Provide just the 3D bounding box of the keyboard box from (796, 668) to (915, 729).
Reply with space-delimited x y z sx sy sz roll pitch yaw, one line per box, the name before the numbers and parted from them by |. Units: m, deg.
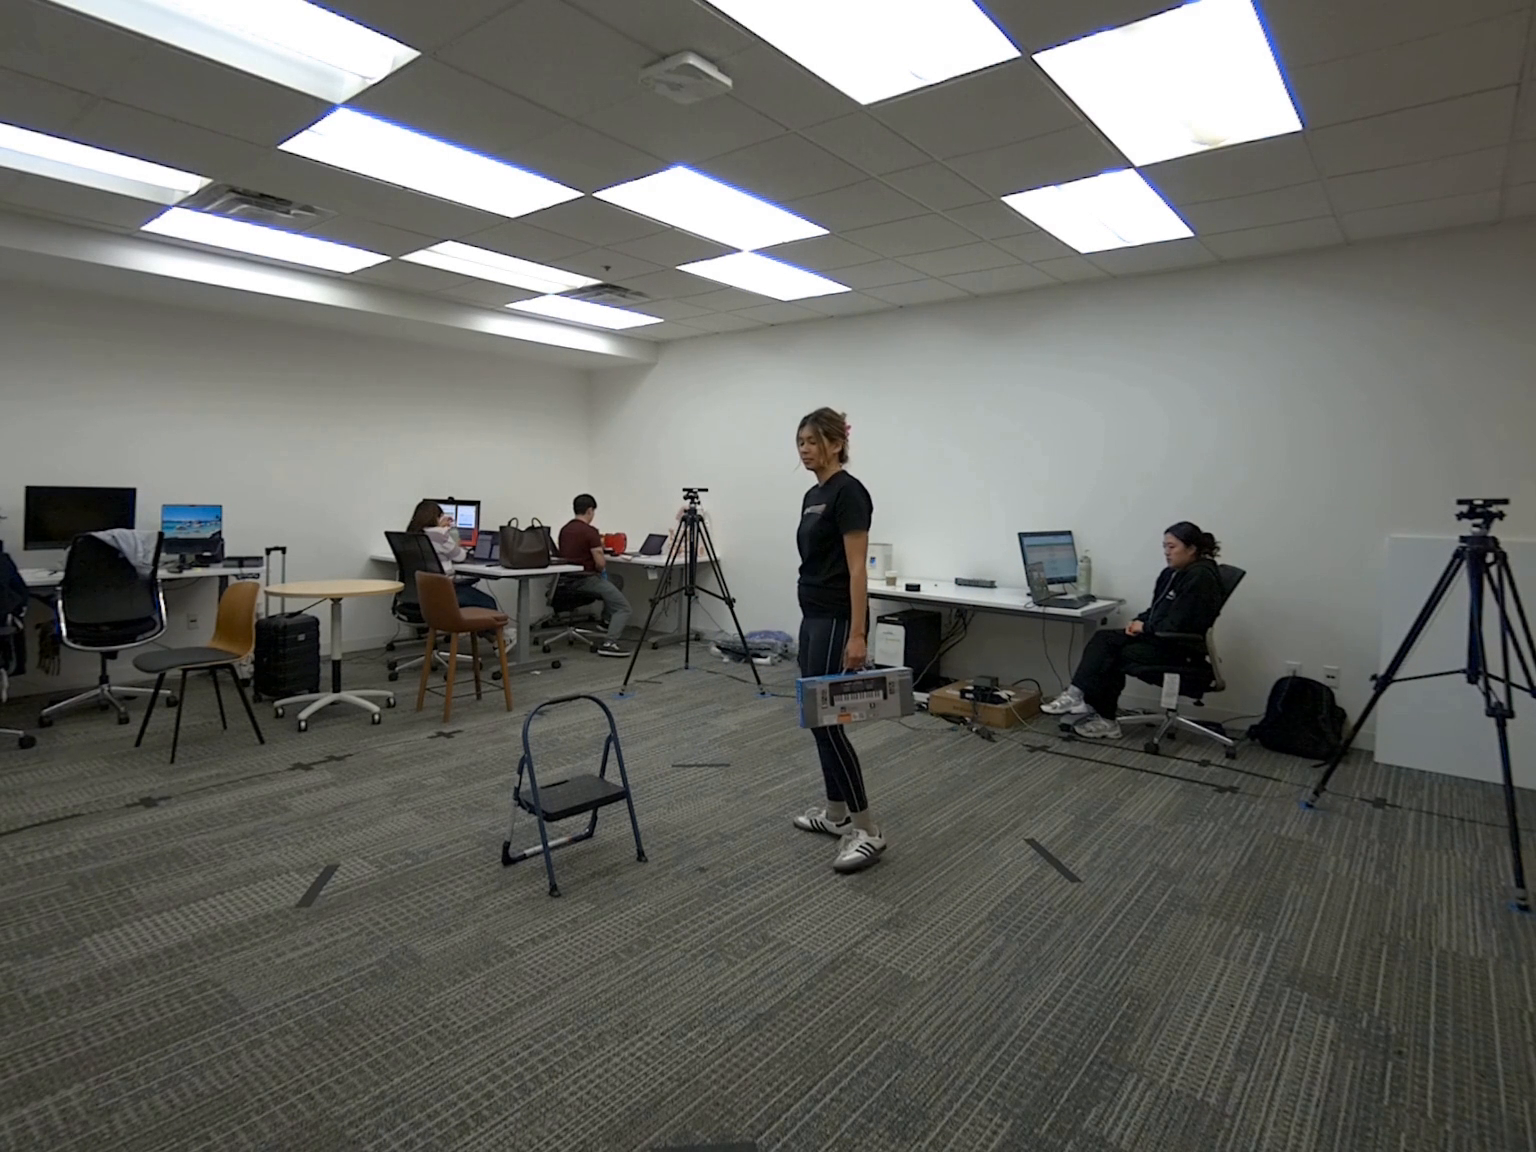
keyboard box | 0.310 0.435 3.108 0.430 0.176 0.060 -4 0 -15
